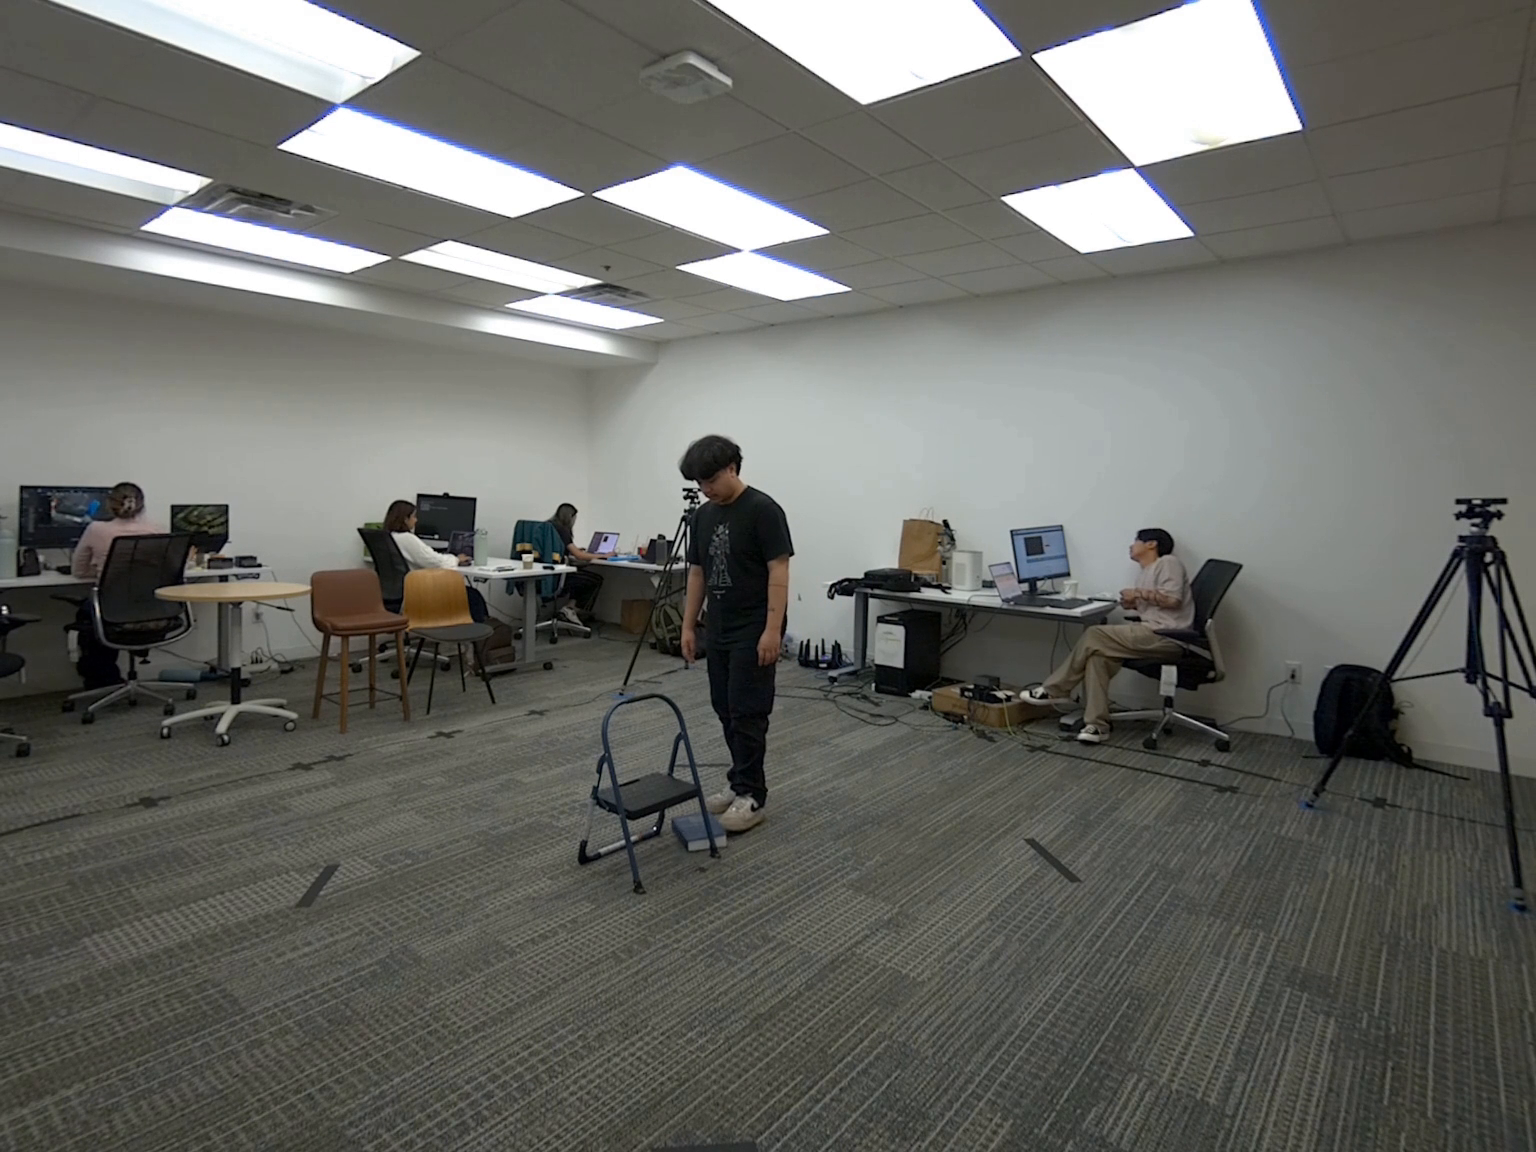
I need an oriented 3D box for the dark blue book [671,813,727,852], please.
[{"bbox_3d":[-0.294,1.014,3.394,0.160,0.045,0.251,-4,7,-21],"label":"dark blue book"}]
